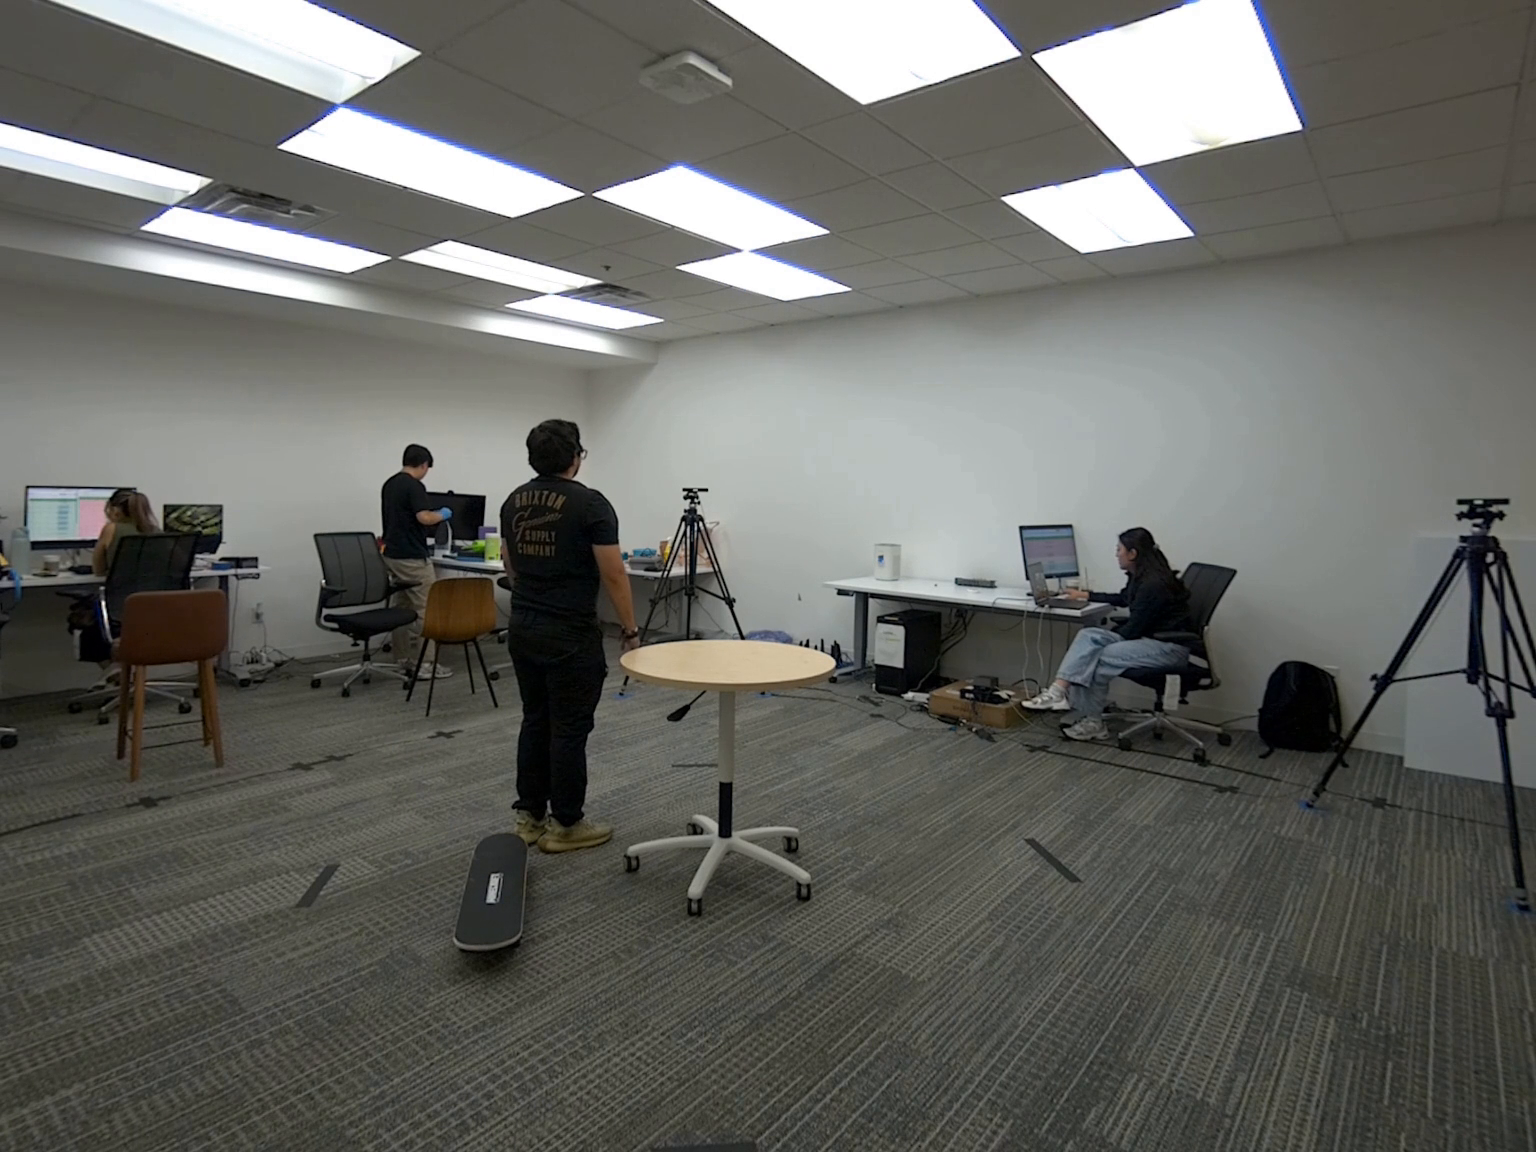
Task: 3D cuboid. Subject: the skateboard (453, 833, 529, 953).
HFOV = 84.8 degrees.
[{"bbox_3d":[-0.896,1.039,2.752,0.191,0.110,0.799,0,6,-13],"label":"skateboard"}]
